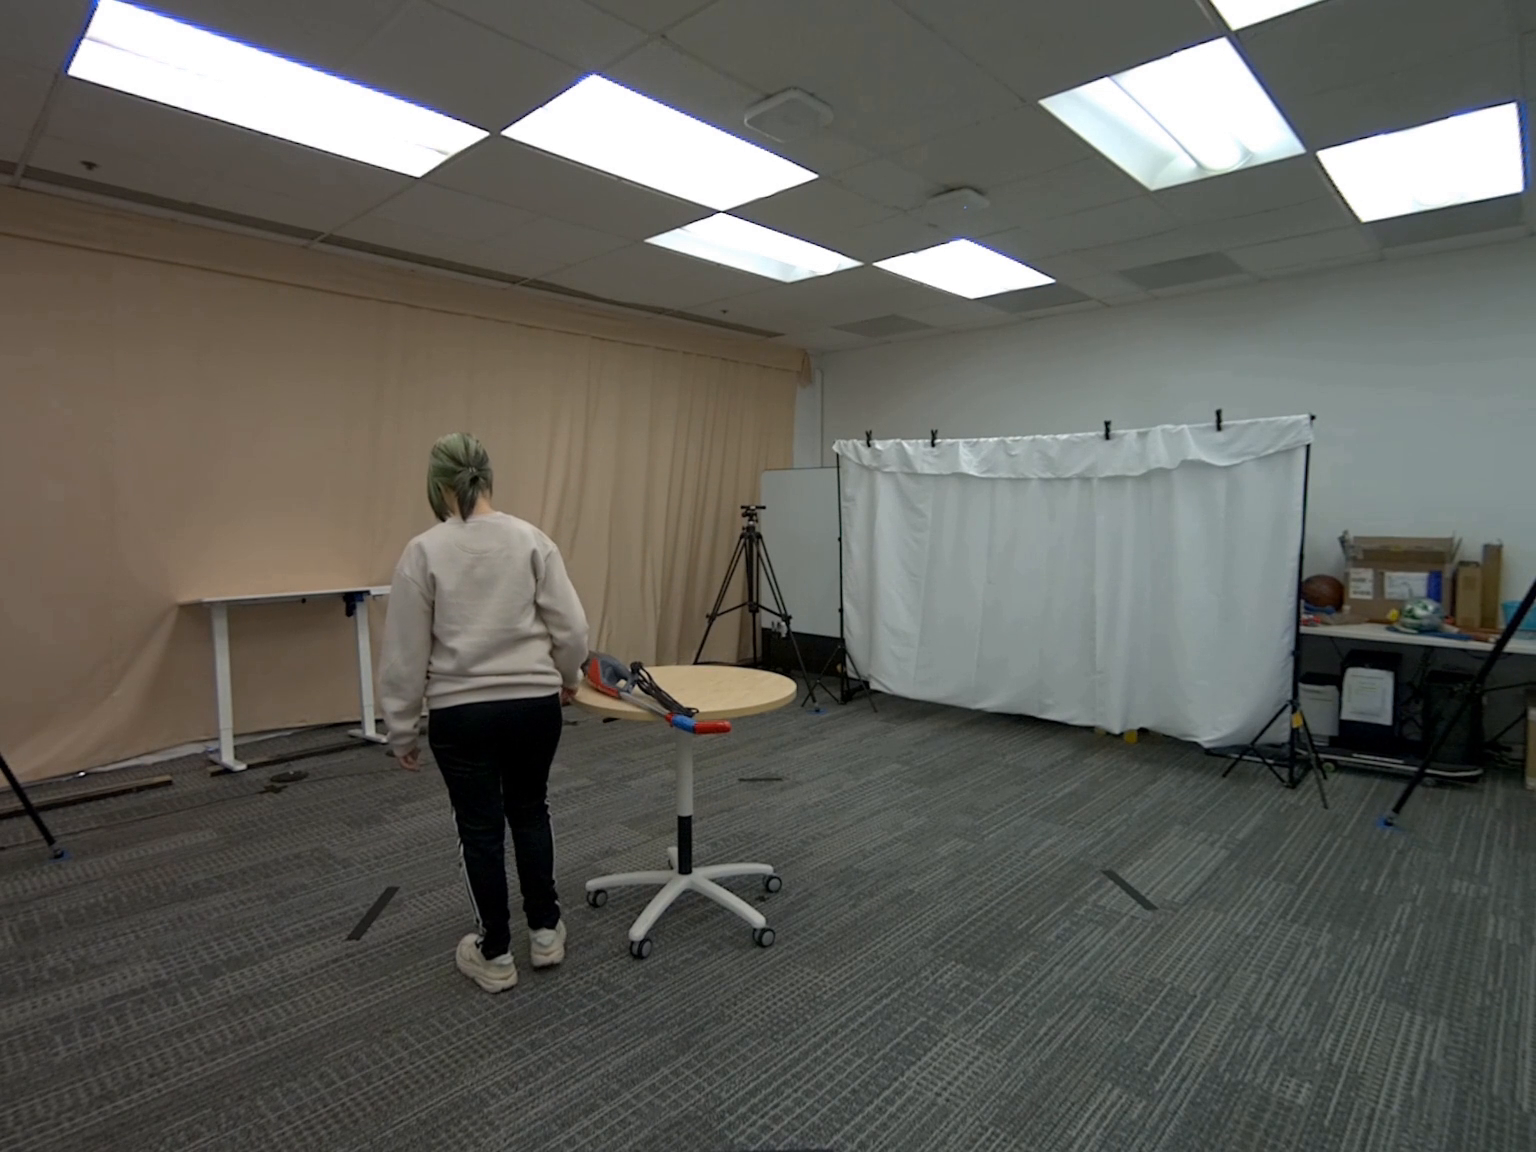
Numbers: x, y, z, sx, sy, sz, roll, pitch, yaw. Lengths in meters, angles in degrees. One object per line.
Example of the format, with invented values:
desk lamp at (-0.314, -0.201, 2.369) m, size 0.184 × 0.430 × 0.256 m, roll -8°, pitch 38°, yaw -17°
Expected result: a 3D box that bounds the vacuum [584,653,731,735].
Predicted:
vacuum at (-0.432, 0.359, 2.651) m, size 0.142 × 0.247 × 1.083 m, roll -38°, pitch 25°, yaw -25°
